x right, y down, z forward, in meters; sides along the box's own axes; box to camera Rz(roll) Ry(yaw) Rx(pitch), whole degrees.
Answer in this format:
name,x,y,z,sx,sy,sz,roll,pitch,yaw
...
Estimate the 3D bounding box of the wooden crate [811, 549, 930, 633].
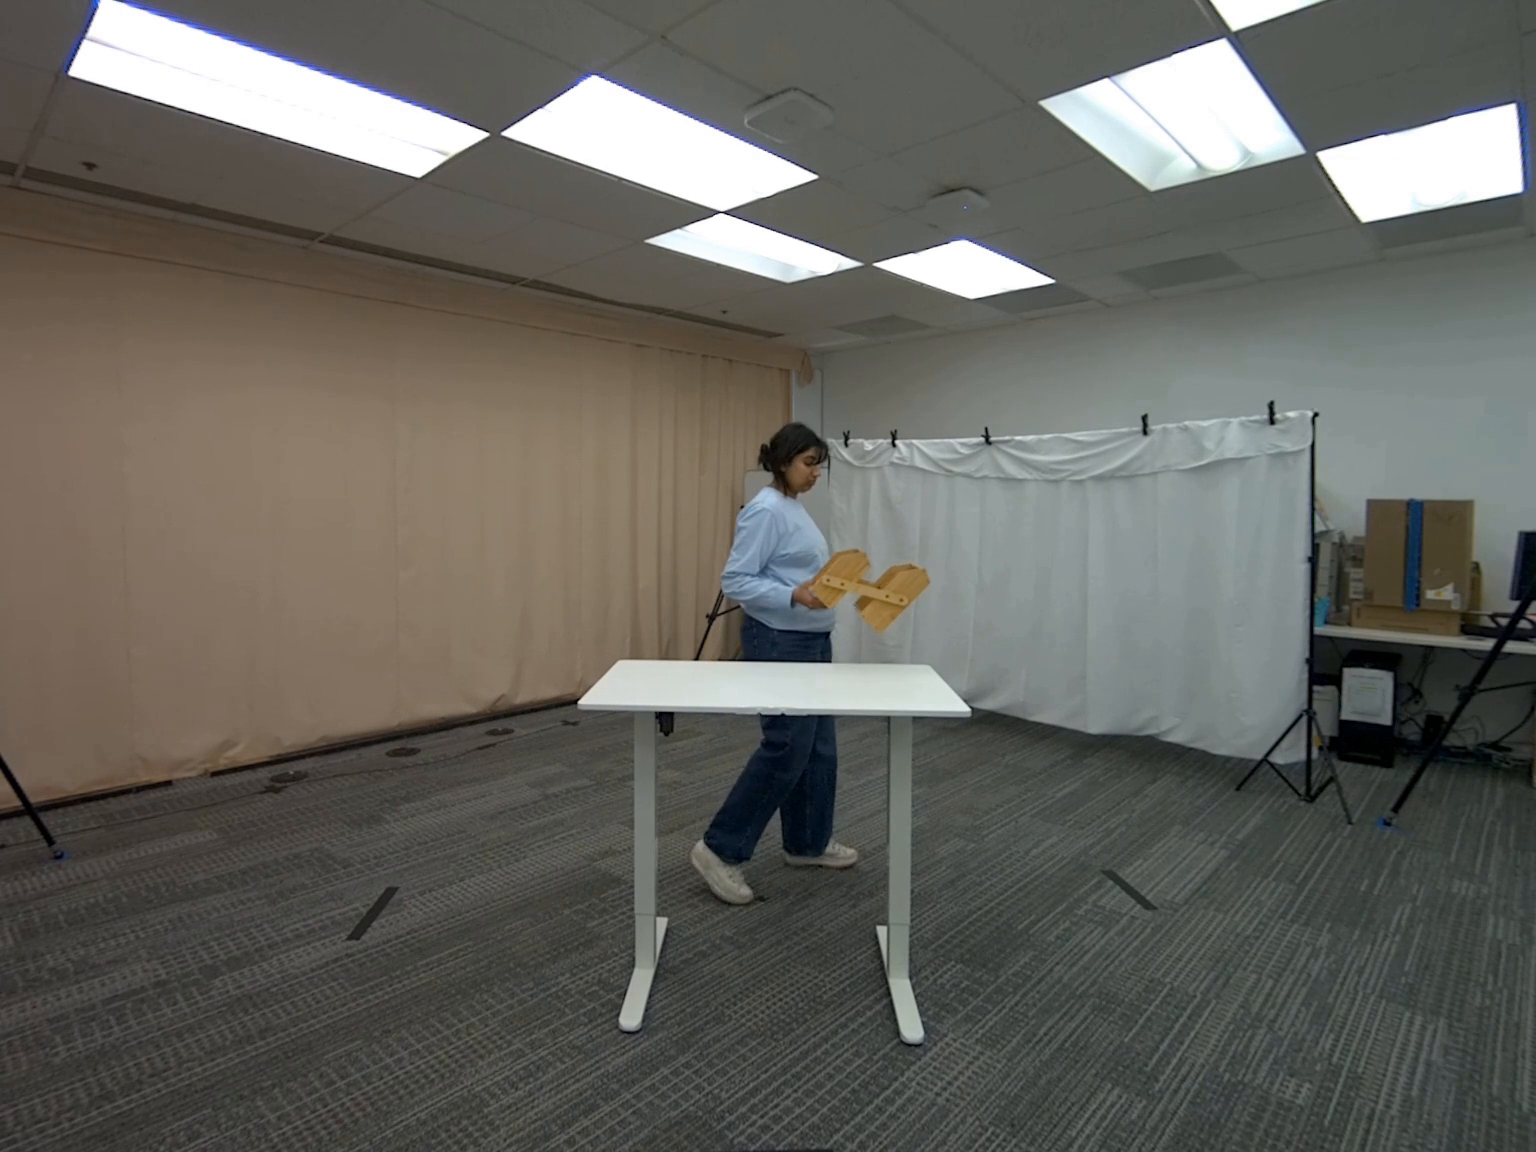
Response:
name,x,y,z,sx,sy,sz,roll,pitch,yaw
wooden crate,0.327,0.014,2.812,0.274,0.302,0.323,43,4,1
